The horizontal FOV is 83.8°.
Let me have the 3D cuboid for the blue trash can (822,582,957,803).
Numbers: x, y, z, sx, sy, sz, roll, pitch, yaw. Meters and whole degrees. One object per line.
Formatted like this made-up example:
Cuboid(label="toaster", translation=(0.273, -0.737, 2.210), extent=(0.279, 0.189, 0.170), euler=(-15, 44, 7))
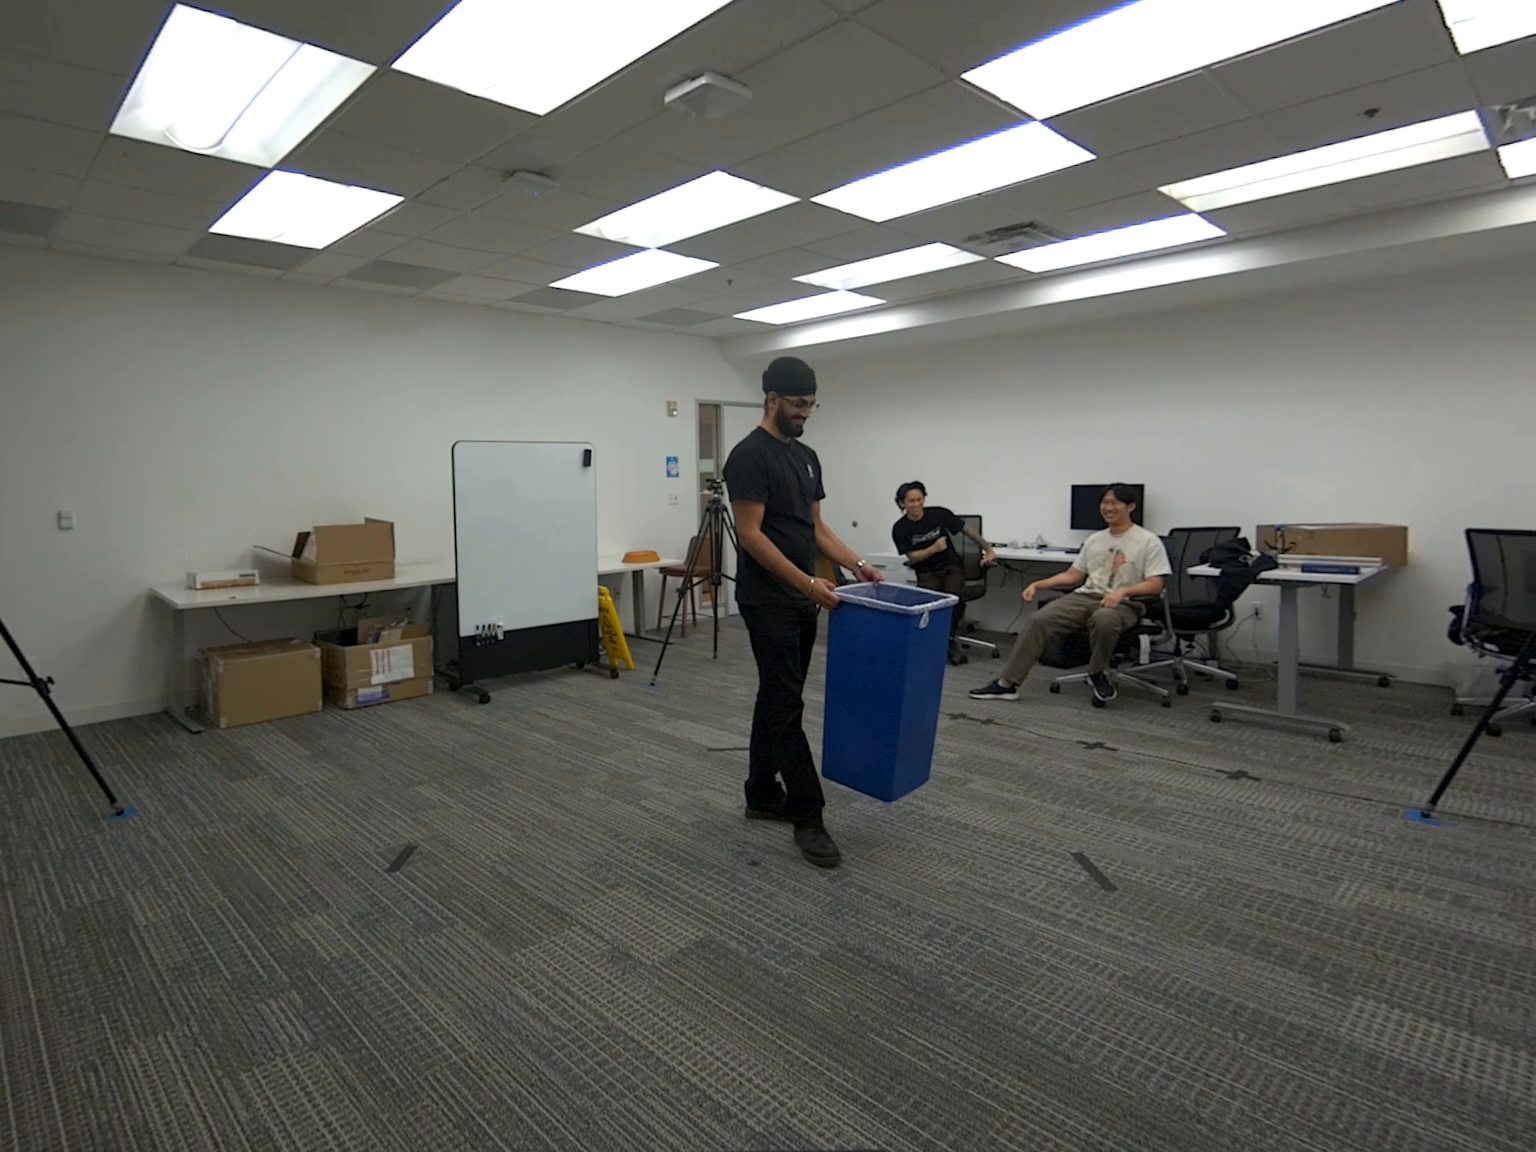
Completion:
Cuboid(label="blue trash can", translation=(0.428, 0.419, 3.174), extent=(0.386, 0.708, 0.368), euler=(11, 11, 38))
